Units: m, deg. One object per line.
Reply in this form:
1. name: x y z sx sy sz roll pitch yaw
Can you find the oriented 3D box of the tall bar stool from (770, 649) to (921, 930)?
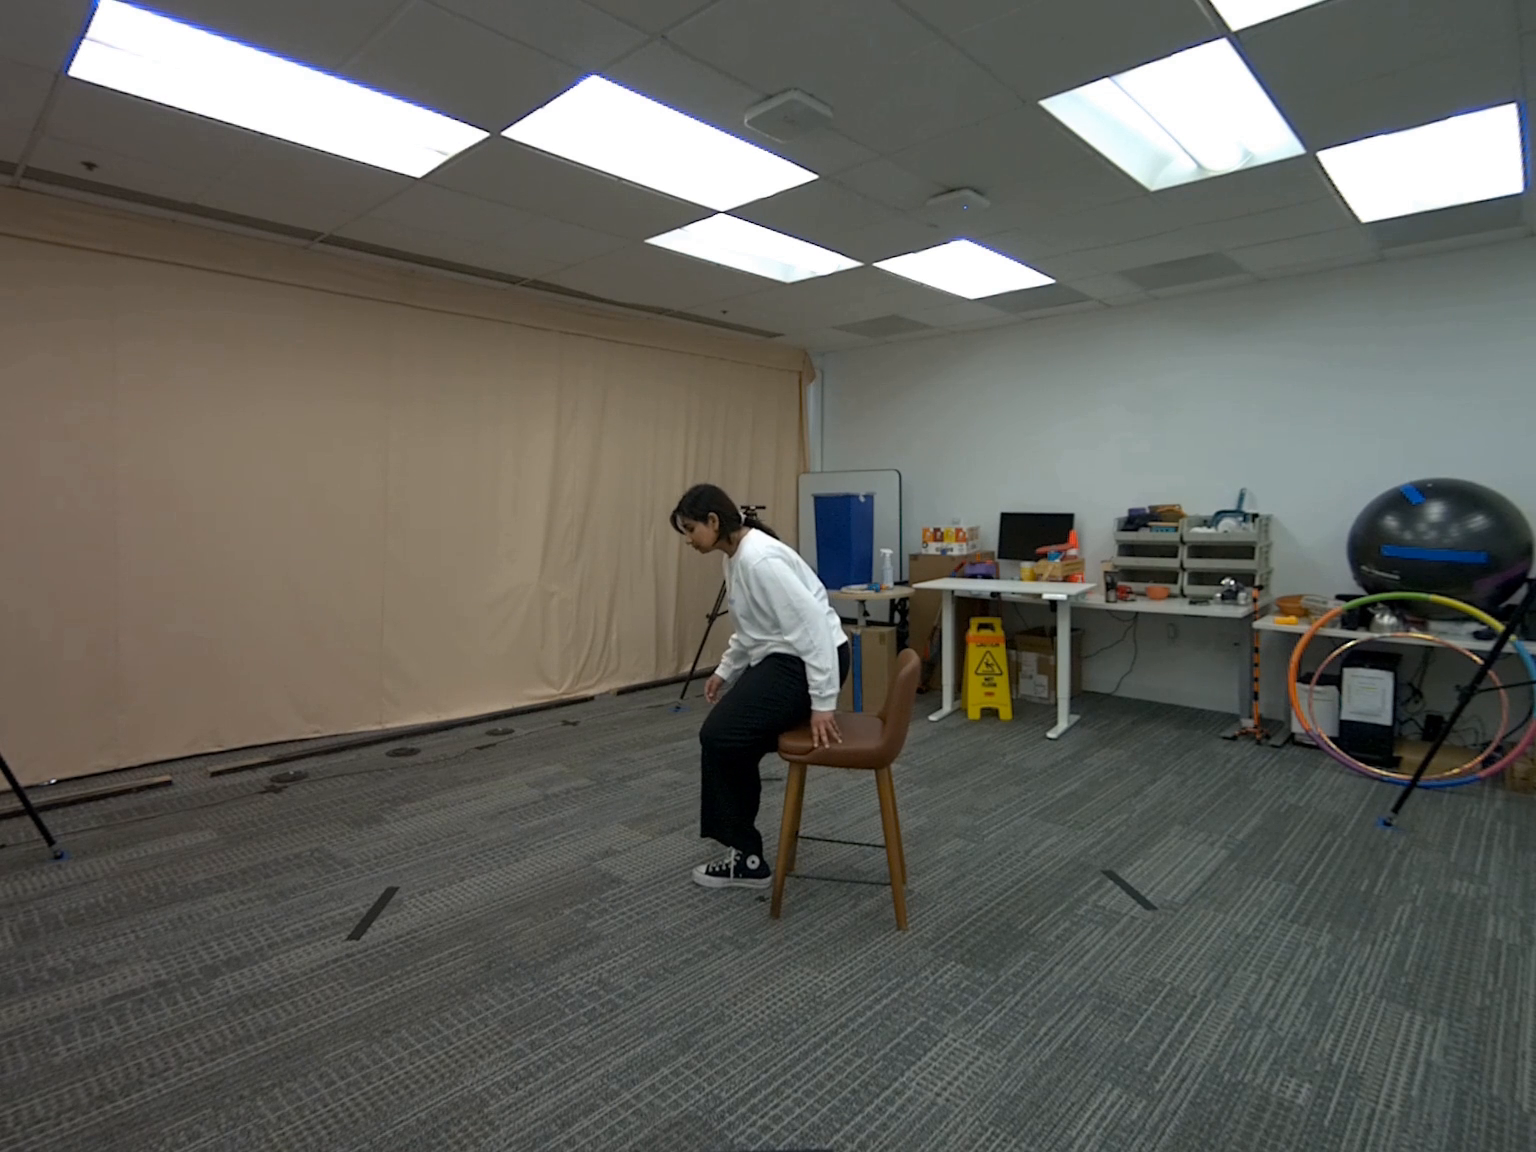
1. tall bar stool: 0.279 0.713 2.955 0.474 0.888 0.451 3 3 12
